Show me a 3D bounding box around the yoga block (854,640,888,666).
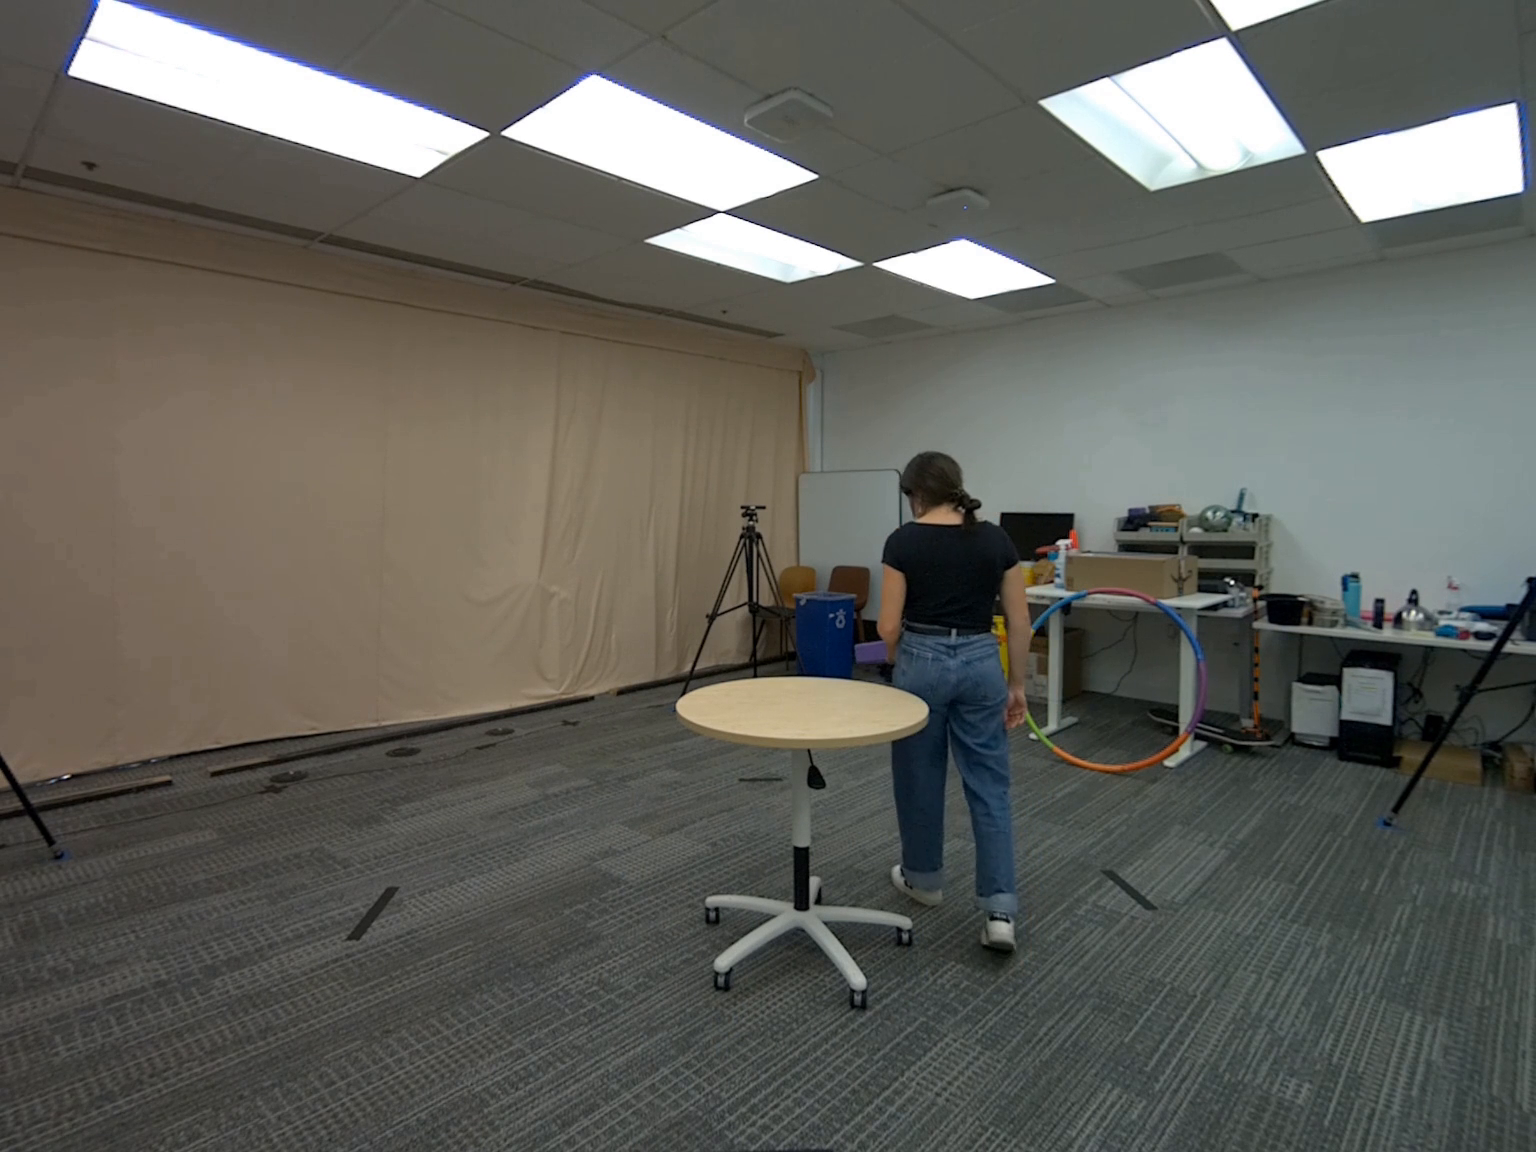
[{"bbox_3d":[0.460,0.283,3.151,0.144,0.077,0.235,0,-10,-42],"label":"yoga block"}]
